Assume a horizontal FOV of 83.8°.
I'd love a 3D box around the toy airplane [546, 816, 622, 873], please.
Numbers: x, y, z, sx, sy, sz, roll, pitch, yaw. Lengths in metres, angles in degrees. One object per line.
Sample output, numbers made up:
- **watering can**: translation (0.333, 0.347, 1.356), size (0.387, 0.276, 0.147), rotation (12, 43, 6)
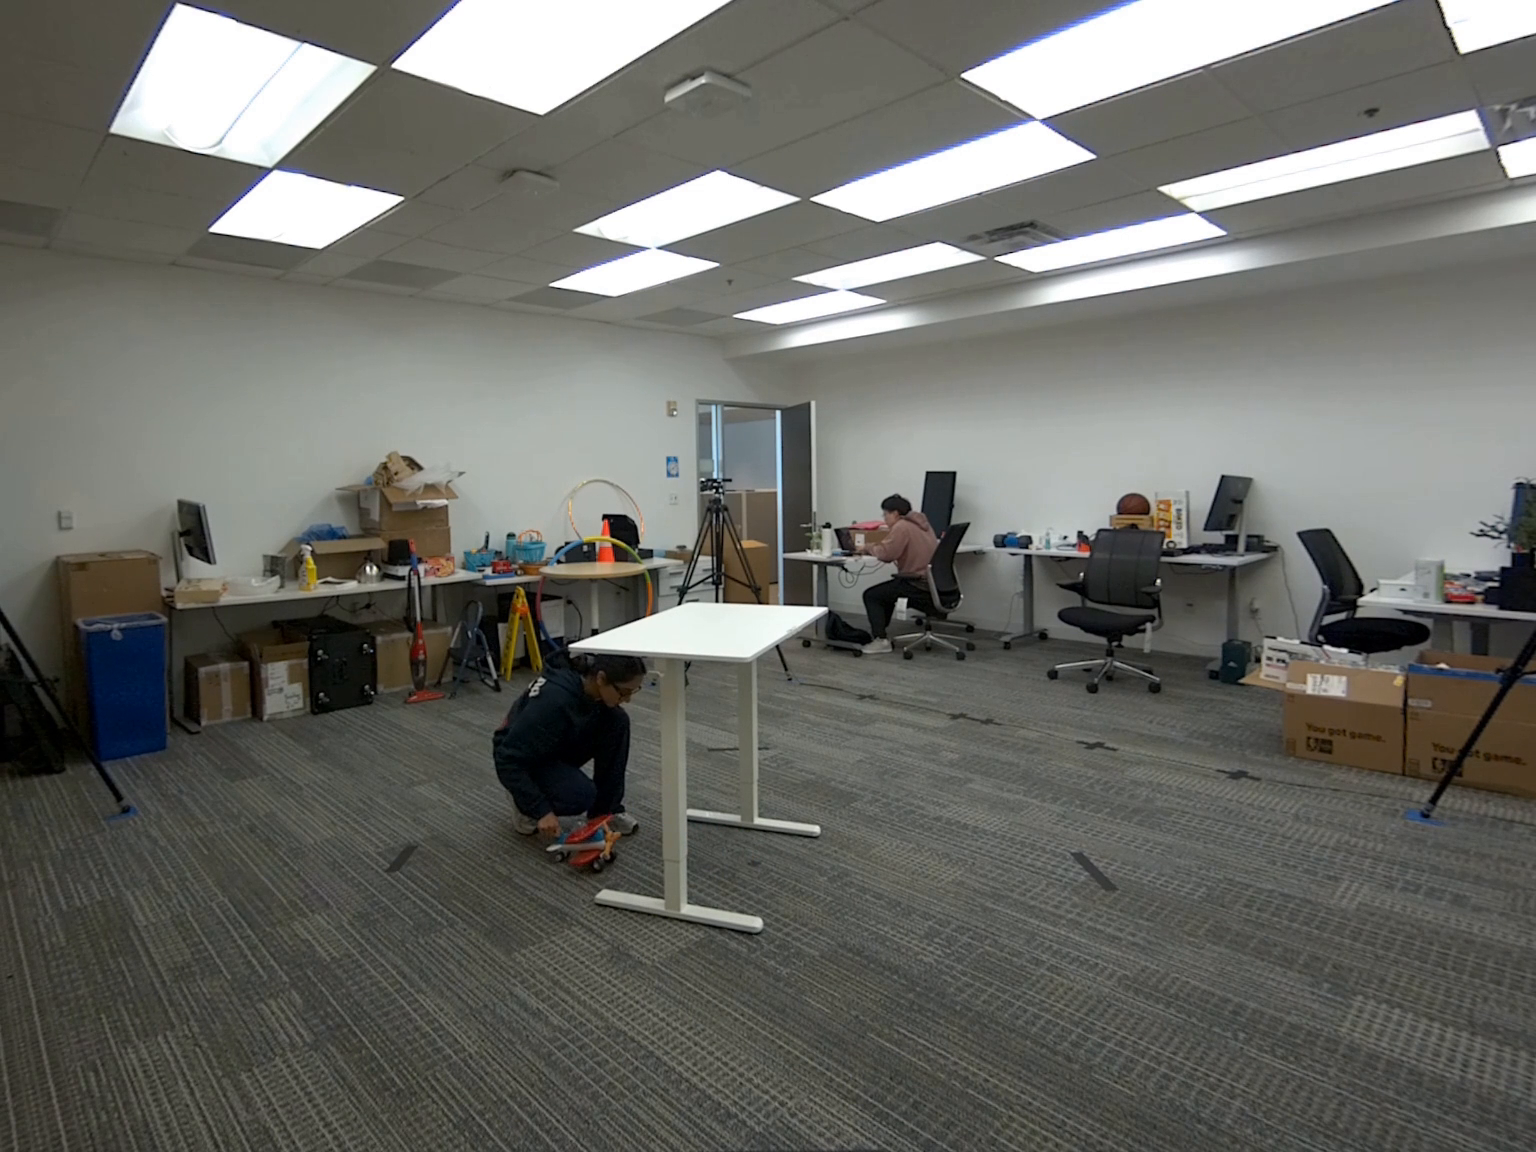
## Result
- **toy airplane**: translation (-0.679, 0.988, 3.093), size (0.257, 0.156, 0.253), rotation (-2, 3, -8)
